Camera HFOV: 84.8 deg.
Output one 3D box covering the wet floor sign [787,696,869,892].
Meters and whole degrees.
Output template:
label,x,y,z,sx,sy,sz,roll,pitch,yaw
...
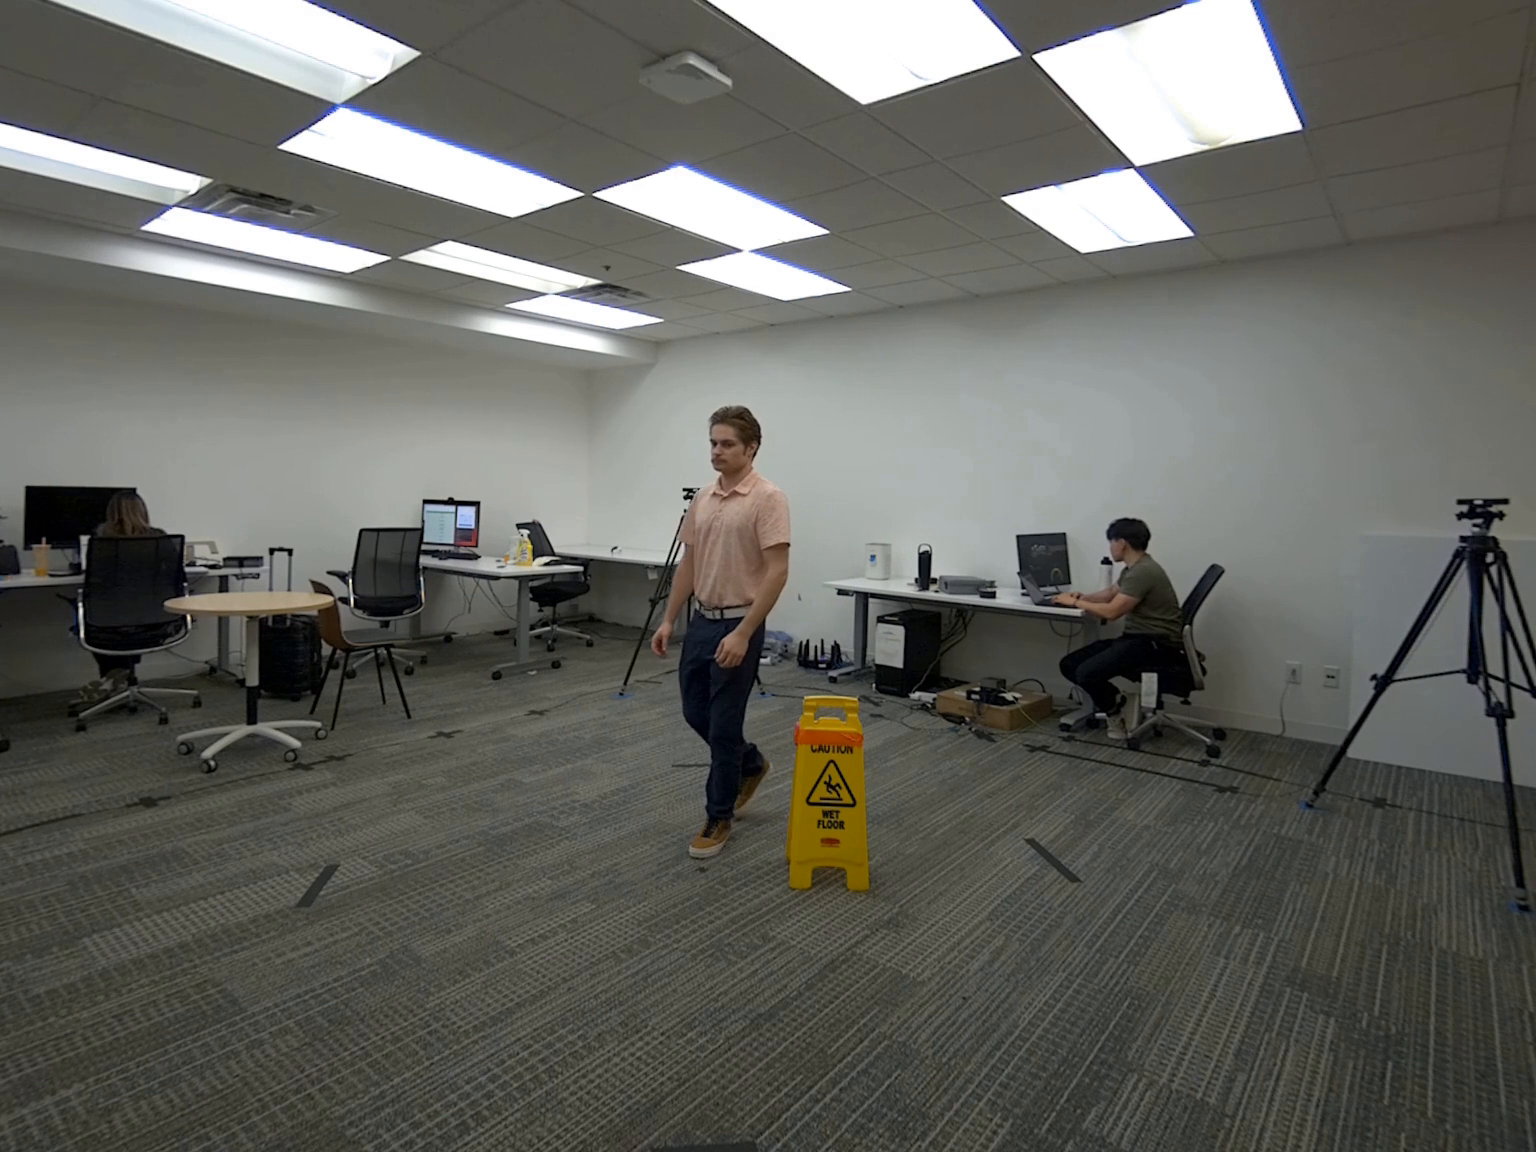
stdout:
label,x,y,z,sx,sy,sz,roll,pitch,yaw
wet floor sign,0.212,0.756,3.071,0.282,0.644,0.291,0,3,-2
